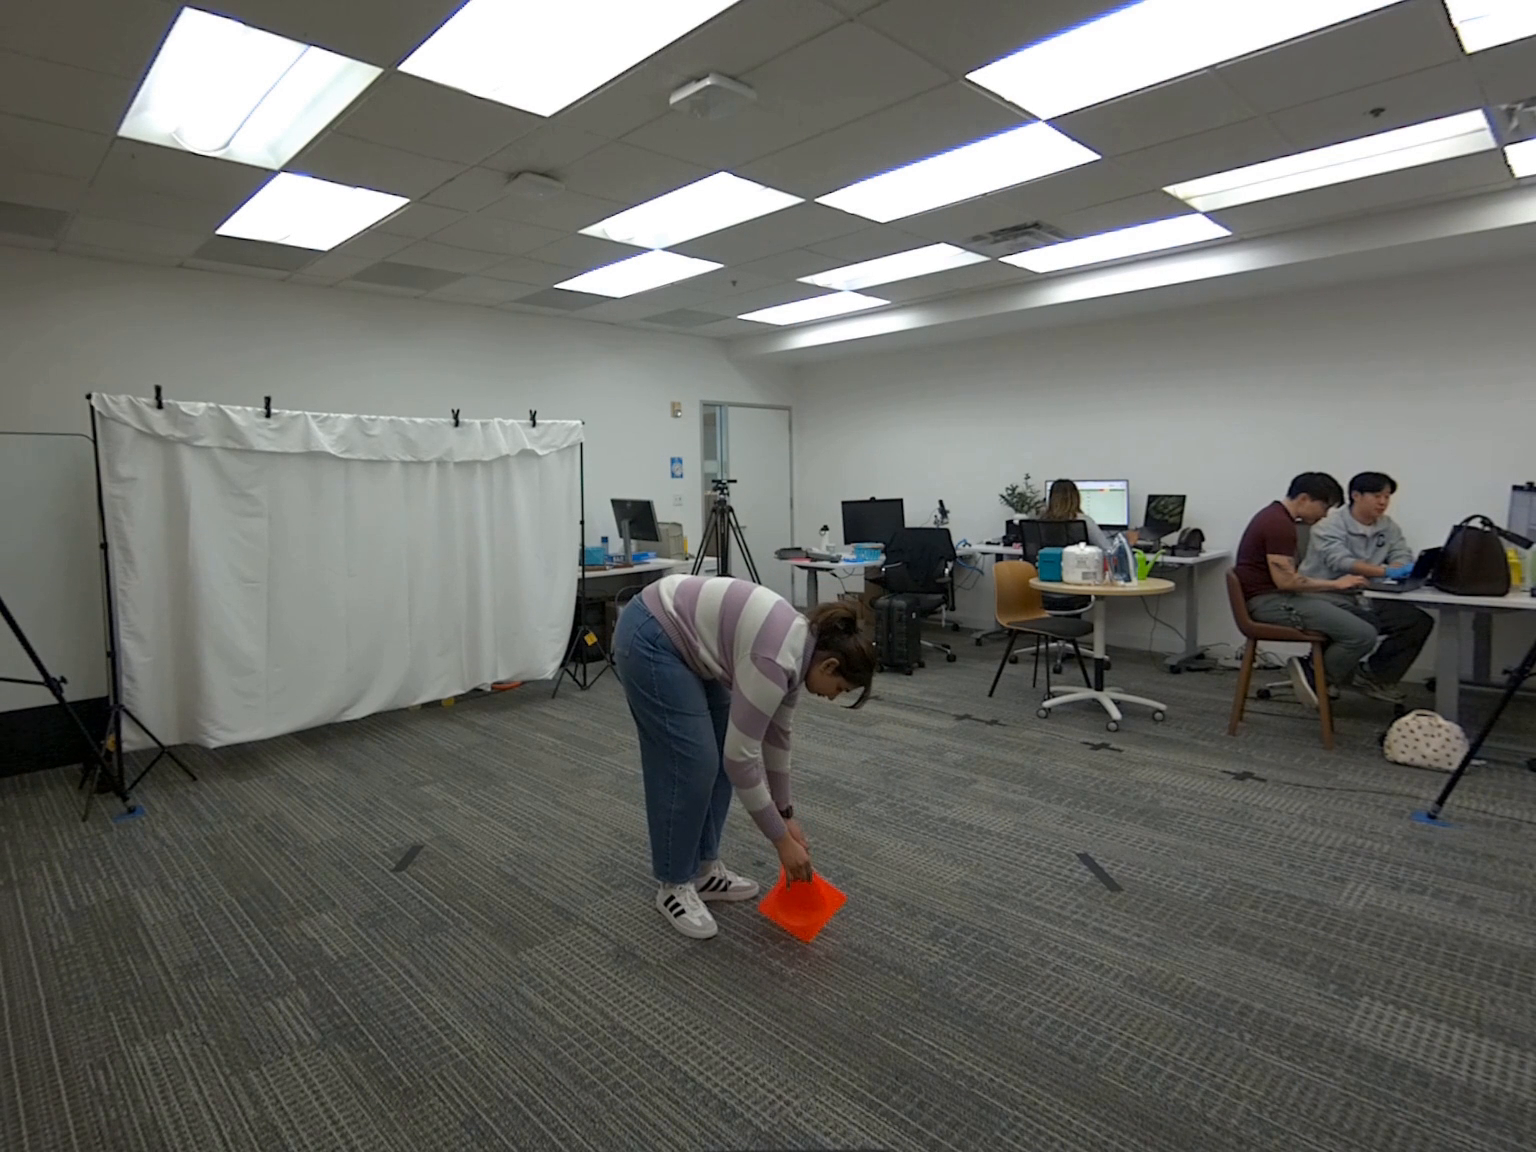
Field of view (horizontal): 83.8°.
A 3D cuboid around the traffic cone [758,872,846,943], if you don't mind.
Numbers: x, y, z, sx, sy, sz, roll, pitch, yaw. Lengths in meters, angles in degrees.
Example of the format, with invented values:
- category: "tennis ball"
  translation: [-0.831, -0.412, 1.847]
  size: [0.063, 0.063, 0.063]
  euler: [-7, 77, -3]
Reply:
- category: "traffic cone"
  translation: [0.095, 0.950, 2.743]
  size: [0.204, 0.203, 0.385]
  euler: [37, 3, -4]
